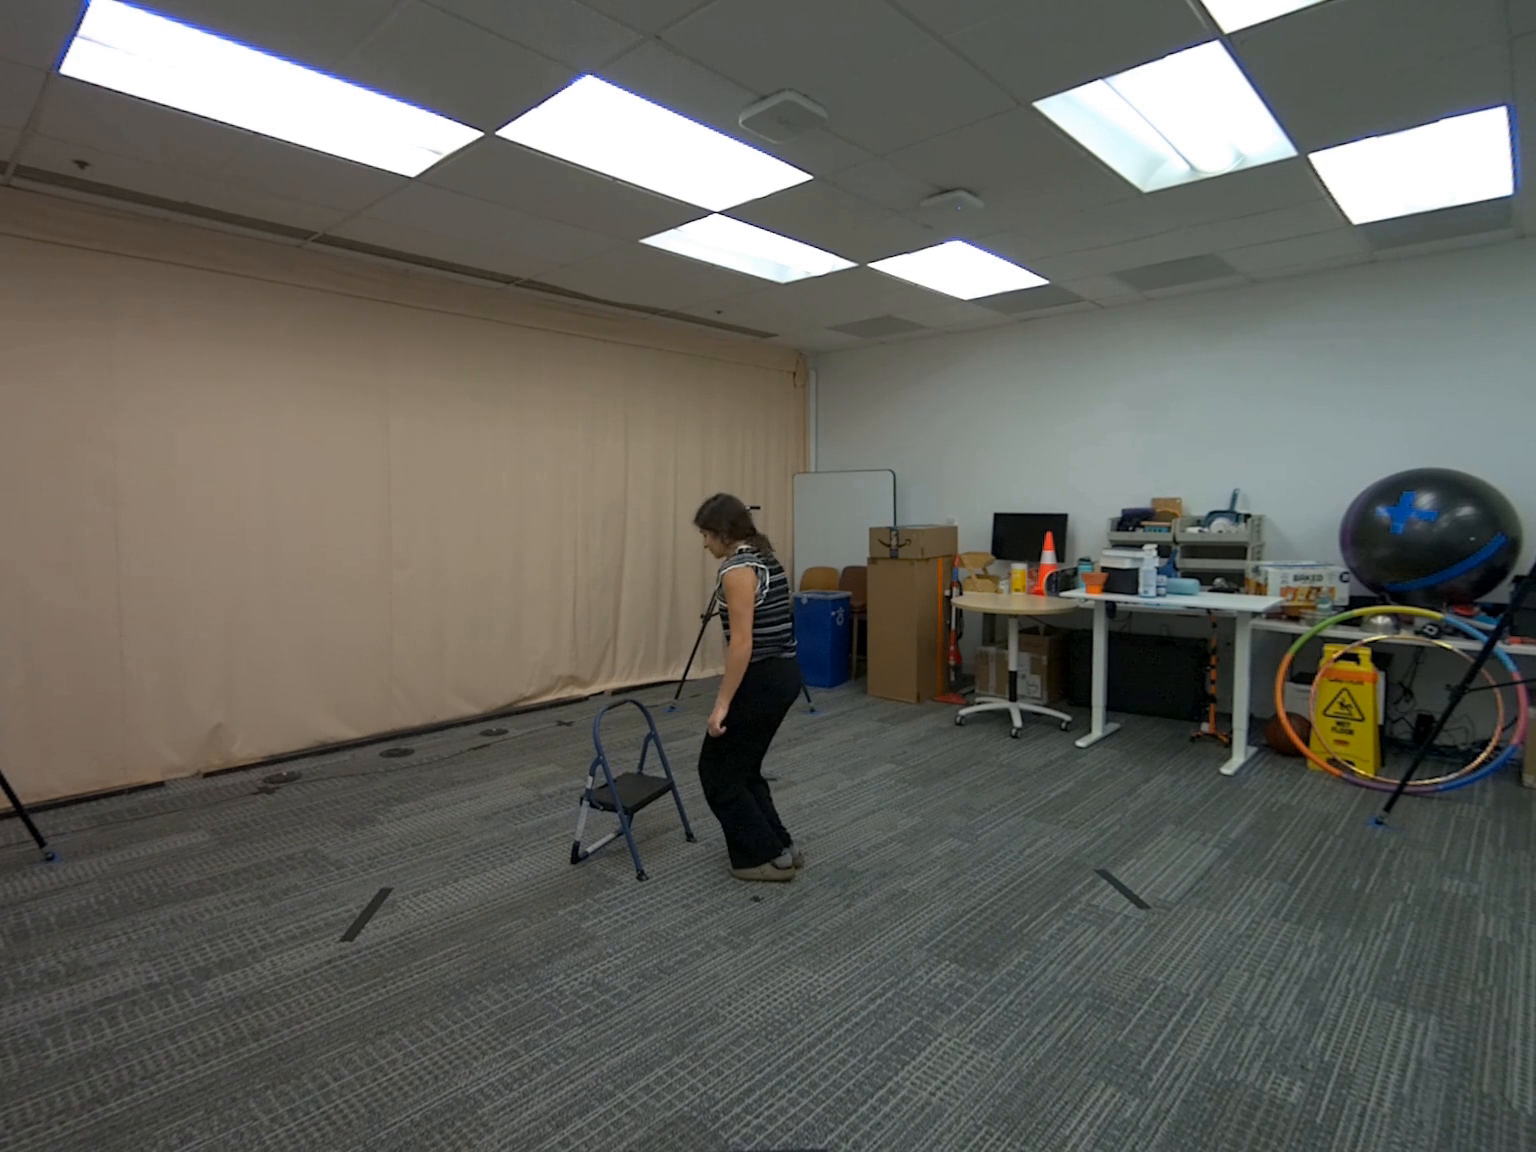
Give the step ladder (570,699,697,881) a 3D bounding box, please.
[{"bbox_3d":[-0.540,0.815,3.388,0.358,0.605,0.421,0,3,24],"label":"step ladder"}]
